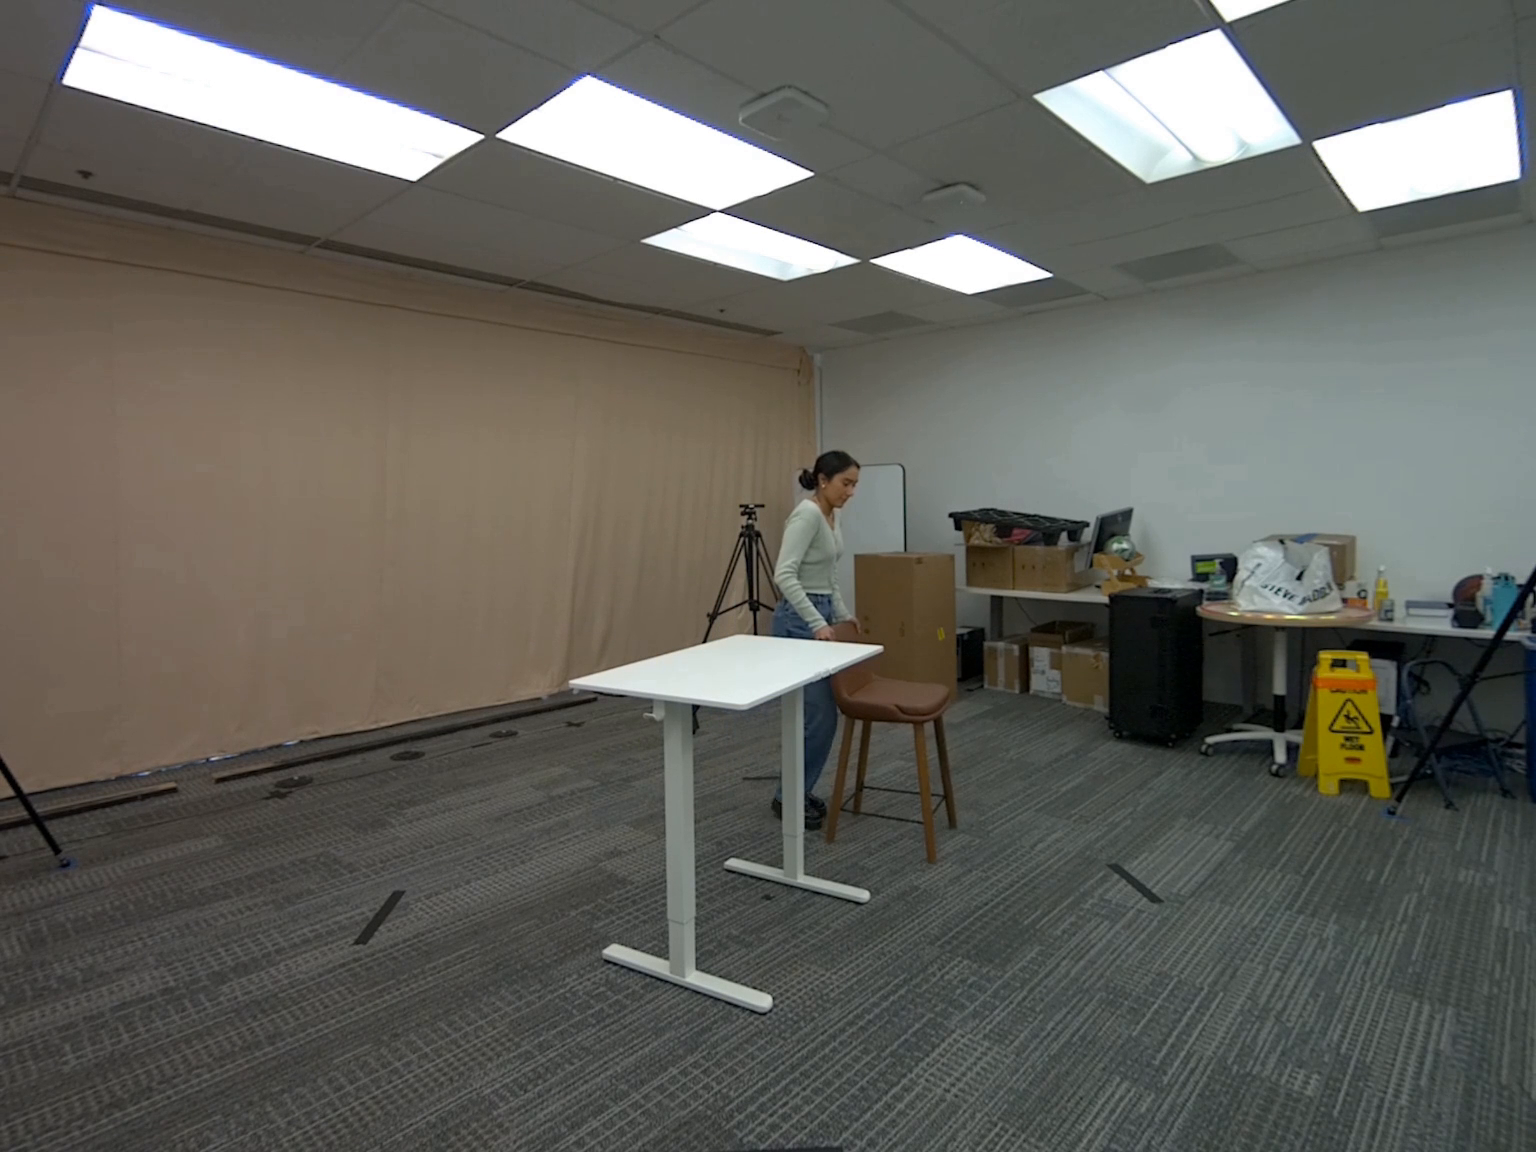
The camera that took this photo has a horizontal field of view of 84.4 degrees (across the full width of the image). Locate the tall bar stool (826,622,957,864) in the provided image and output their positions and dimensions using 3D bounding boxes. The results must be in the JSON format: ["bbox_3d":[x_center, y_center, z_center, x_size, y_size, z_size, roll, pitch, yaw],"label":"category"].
[{"bbox_3d":[0.510,0.650,3.500,0.480,0.889,0.445,-2,2,27],"label":"tall bar stool"}]
